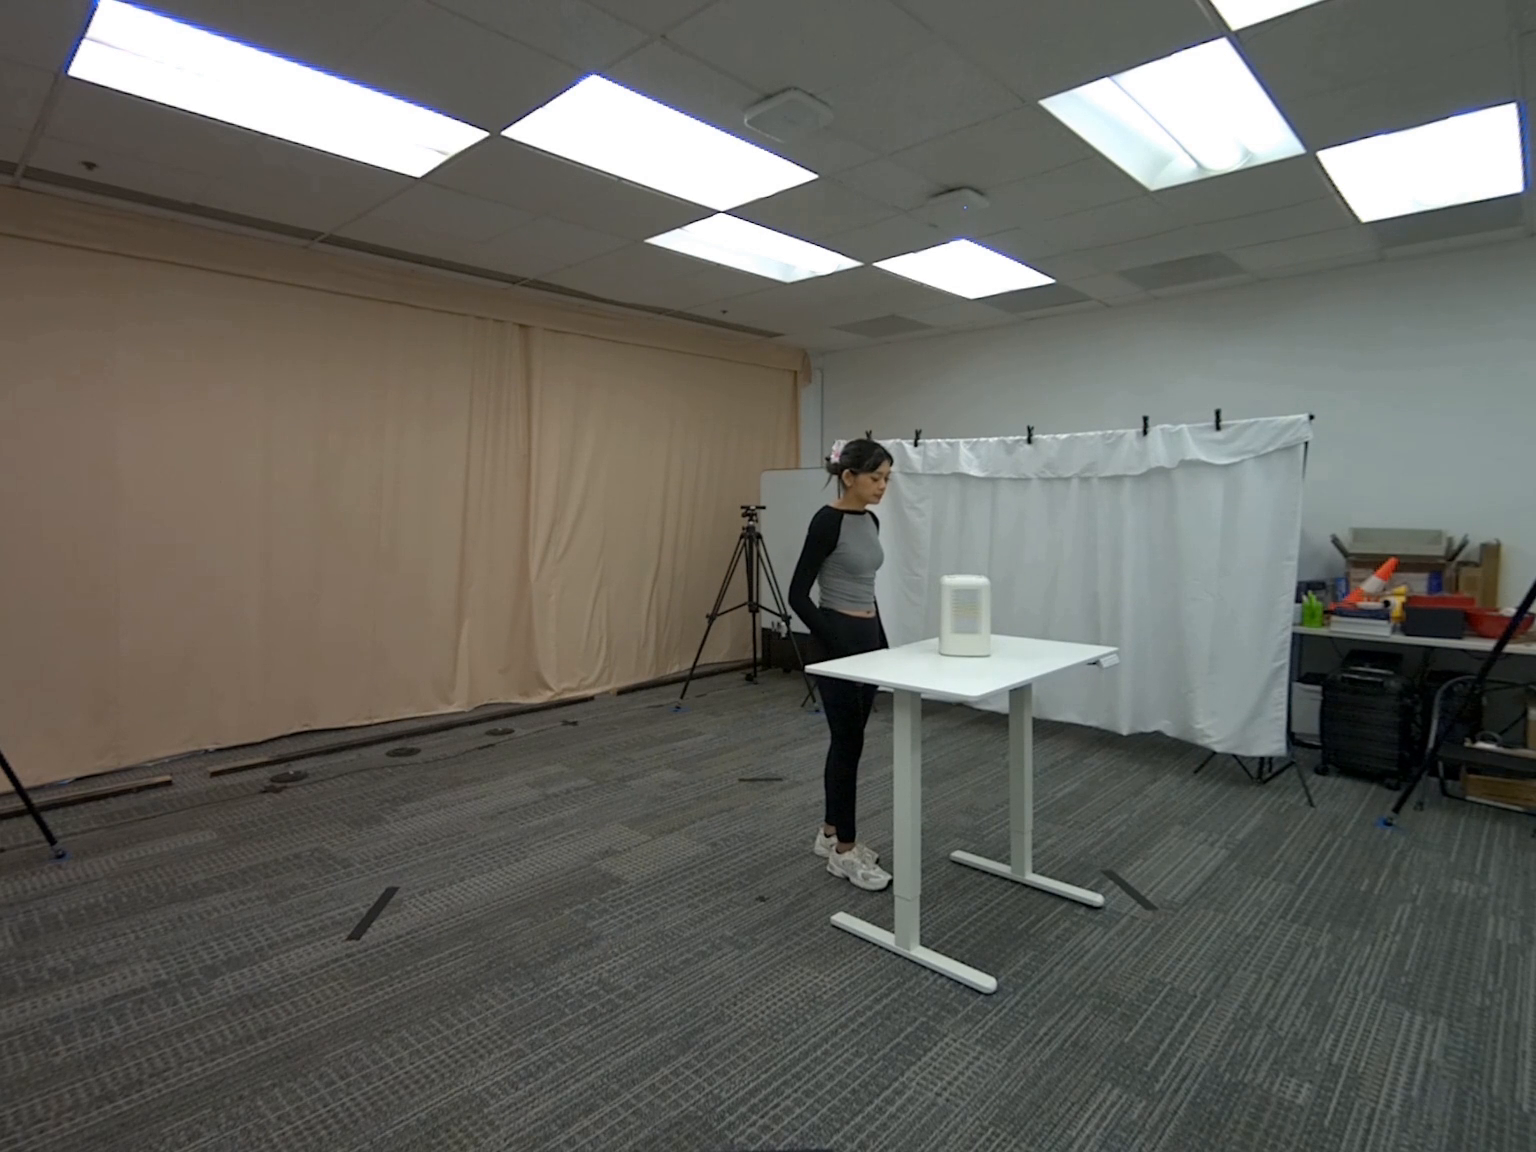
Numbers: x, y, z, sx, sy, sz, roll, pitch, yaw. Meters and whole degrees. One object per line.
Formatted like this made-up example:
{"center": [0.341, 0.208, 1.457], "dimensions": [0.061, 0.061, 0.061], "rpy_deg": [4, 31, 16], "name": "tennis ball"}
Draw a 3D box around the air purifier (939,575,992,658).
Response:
{"center": [0.687, 0.134, 2.899], "dimensions": [0.174, 0.265, 0.169], "rpy_deg": [0, 3, 12], "name": "air purifier"}
